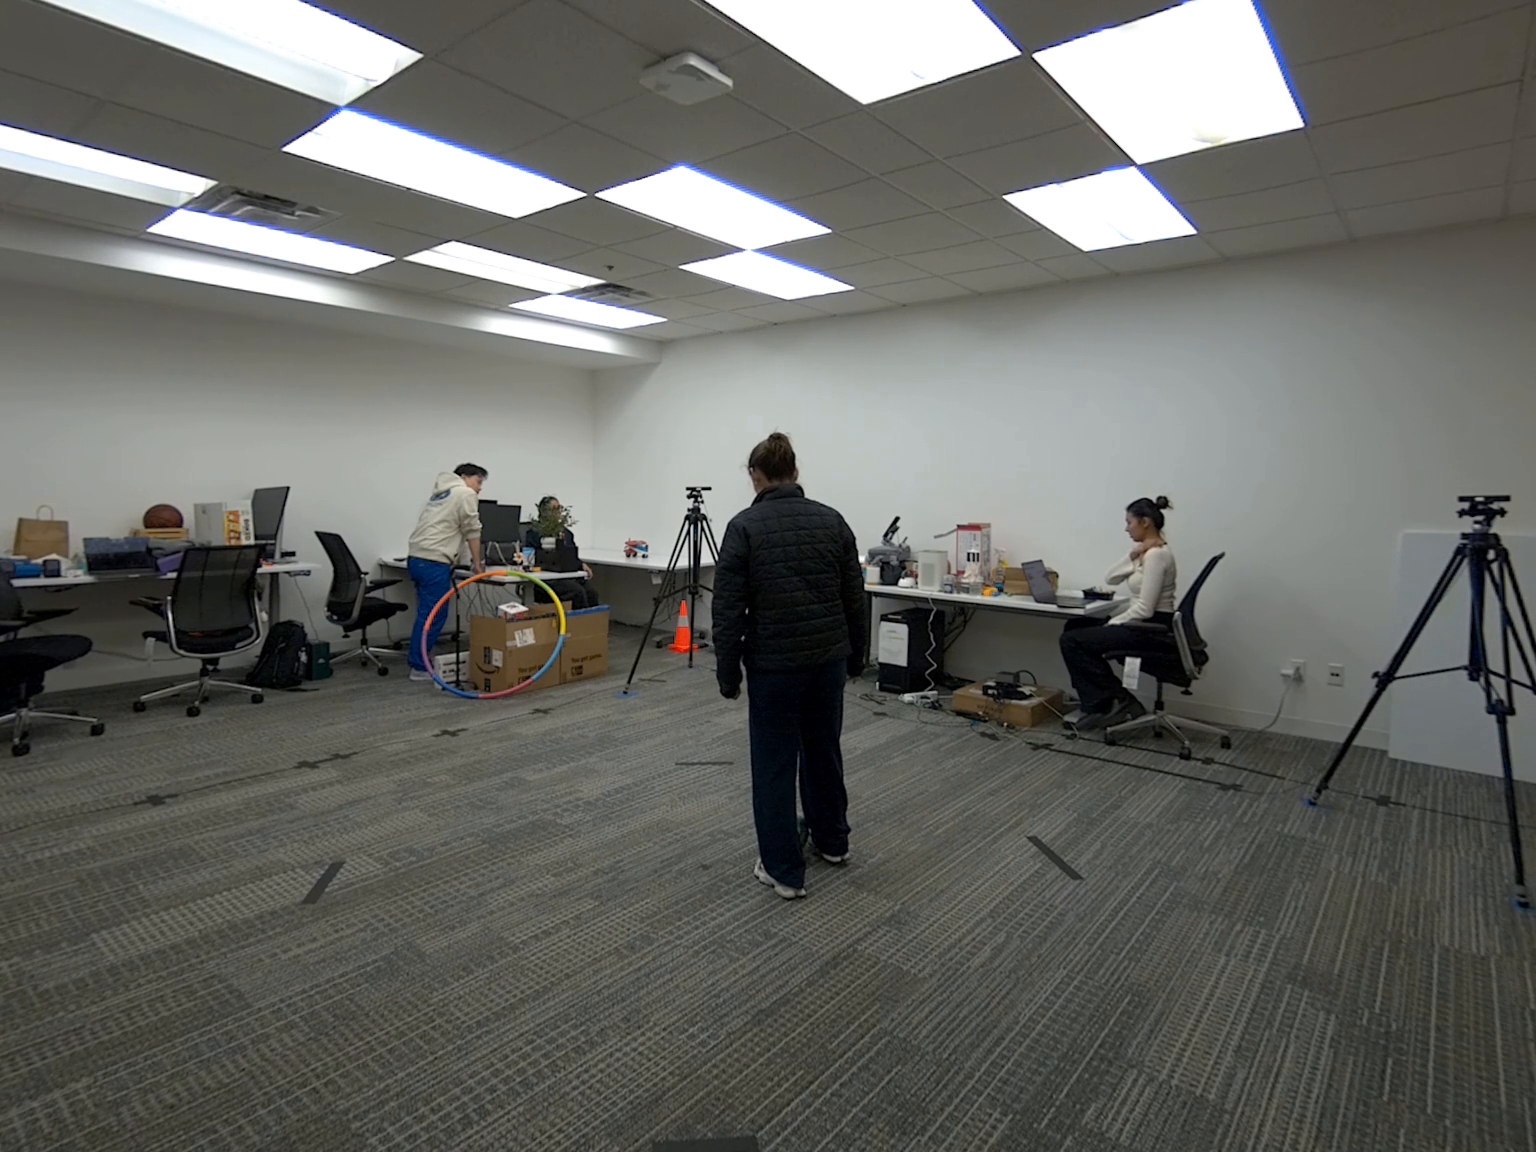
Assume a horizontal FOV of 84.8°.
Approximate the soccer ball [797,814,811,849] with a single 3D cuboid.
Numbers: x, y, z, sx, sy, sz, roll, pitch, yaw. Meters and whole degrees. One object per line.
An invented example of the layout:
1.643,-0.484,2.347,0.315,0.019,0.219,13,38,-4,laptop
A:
0.064,0.957,3.238,0.187,0.187,0.188,1,4,-2,soccer ball
